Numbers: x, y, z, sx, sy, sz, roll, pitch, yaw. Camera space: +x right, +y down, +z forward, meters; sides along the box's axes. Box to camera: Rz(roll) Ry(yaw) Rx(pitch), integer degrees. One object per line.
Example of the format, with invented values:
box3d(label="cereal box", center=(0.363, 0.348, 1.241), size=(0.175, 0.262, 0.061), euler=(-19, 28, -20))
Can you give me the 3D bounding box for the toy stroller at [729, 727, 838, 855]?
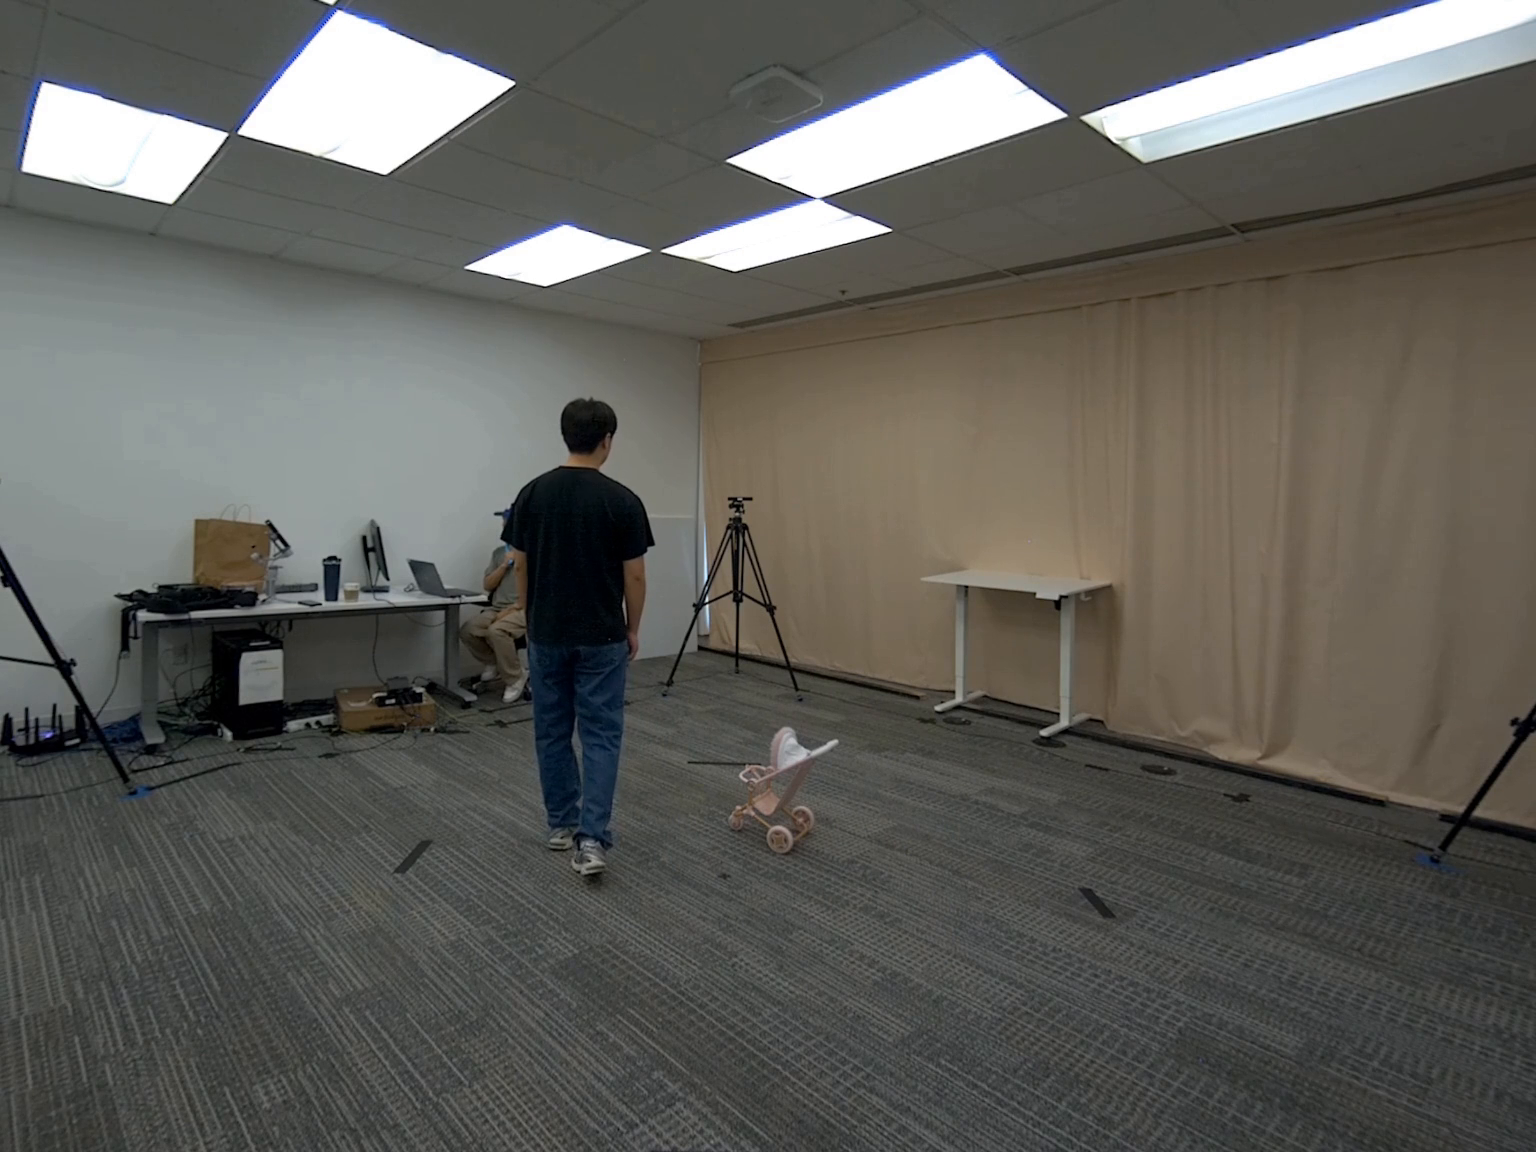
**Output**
box3d(label="toy stroller", center=(0.038, 0.859, 3.454), size=(0.350, 0.532, 0.276), euler=(22, 12, 27))
